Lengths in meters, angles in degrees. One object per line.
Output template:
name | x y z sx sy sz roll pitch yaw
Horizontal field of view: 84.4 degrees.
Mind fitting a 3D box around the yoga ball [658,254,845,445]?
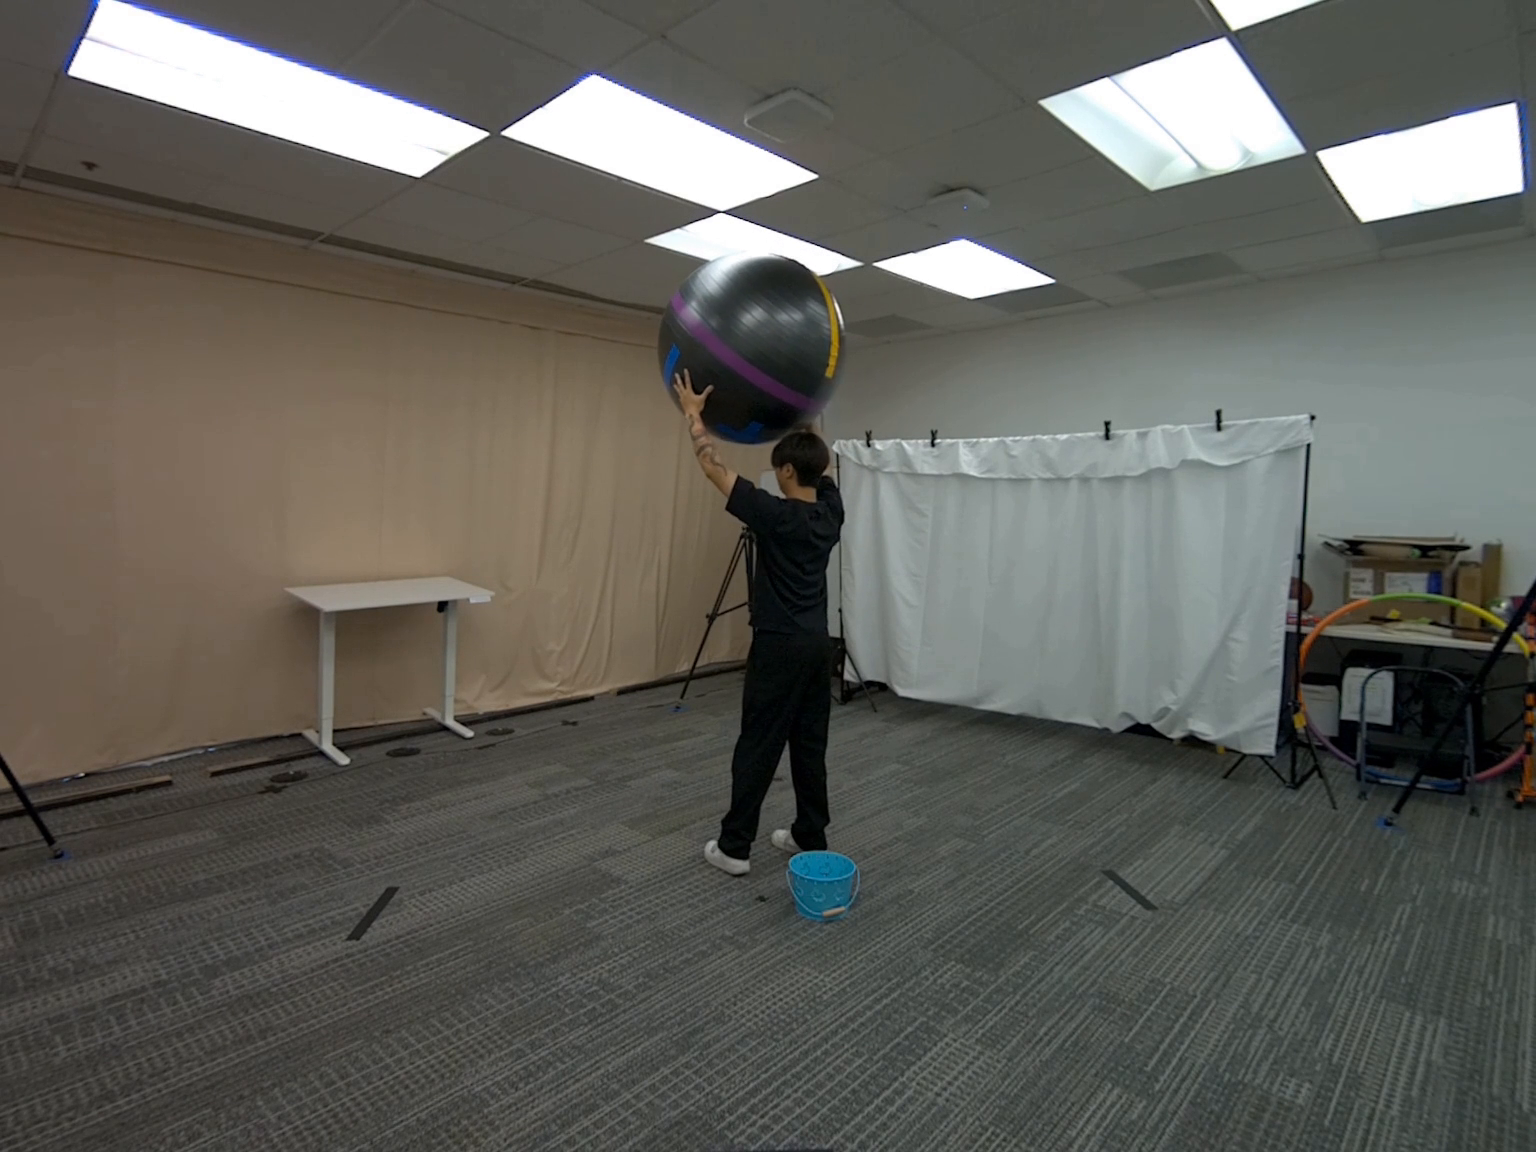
yoga ball | -0.063 -0.915 3.412 0.757 0.756 0.760 0 4 -2
